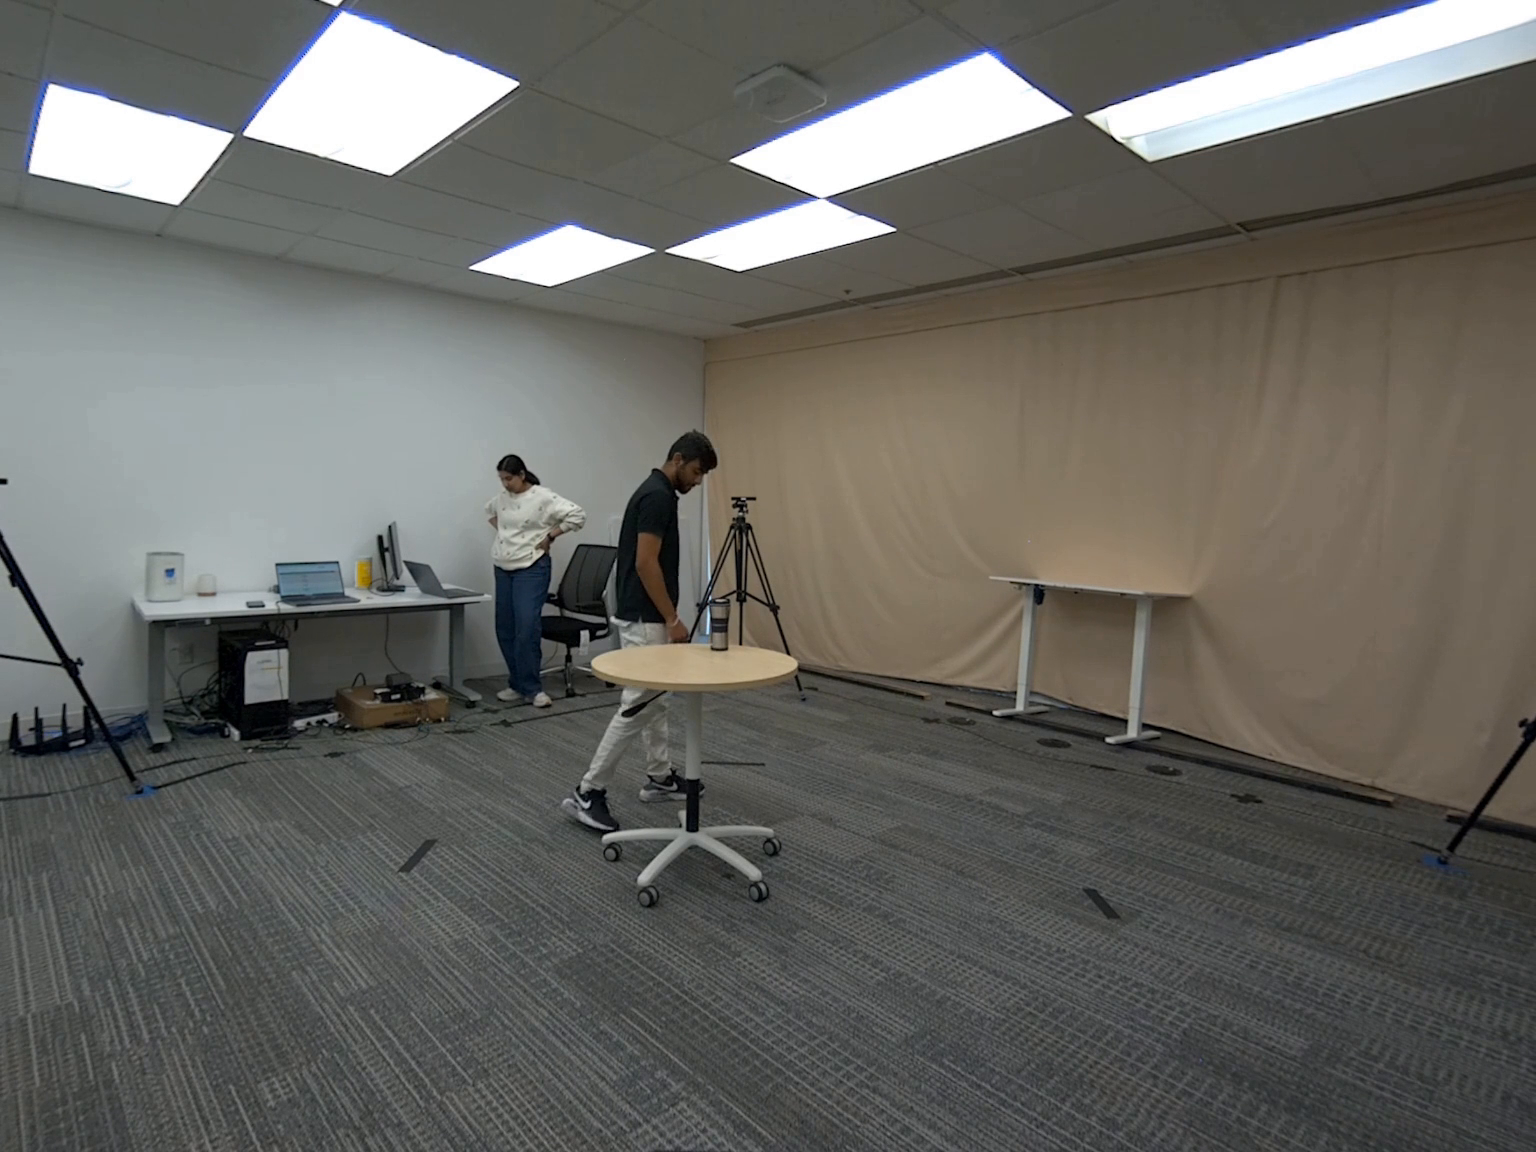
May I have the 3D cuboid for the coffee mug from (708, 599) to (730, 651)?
[{"bbox_3d":[-0.191,0.195,3.397,0.089,0.202,0.120,0,4,20],"label":"coffee mug"}]
